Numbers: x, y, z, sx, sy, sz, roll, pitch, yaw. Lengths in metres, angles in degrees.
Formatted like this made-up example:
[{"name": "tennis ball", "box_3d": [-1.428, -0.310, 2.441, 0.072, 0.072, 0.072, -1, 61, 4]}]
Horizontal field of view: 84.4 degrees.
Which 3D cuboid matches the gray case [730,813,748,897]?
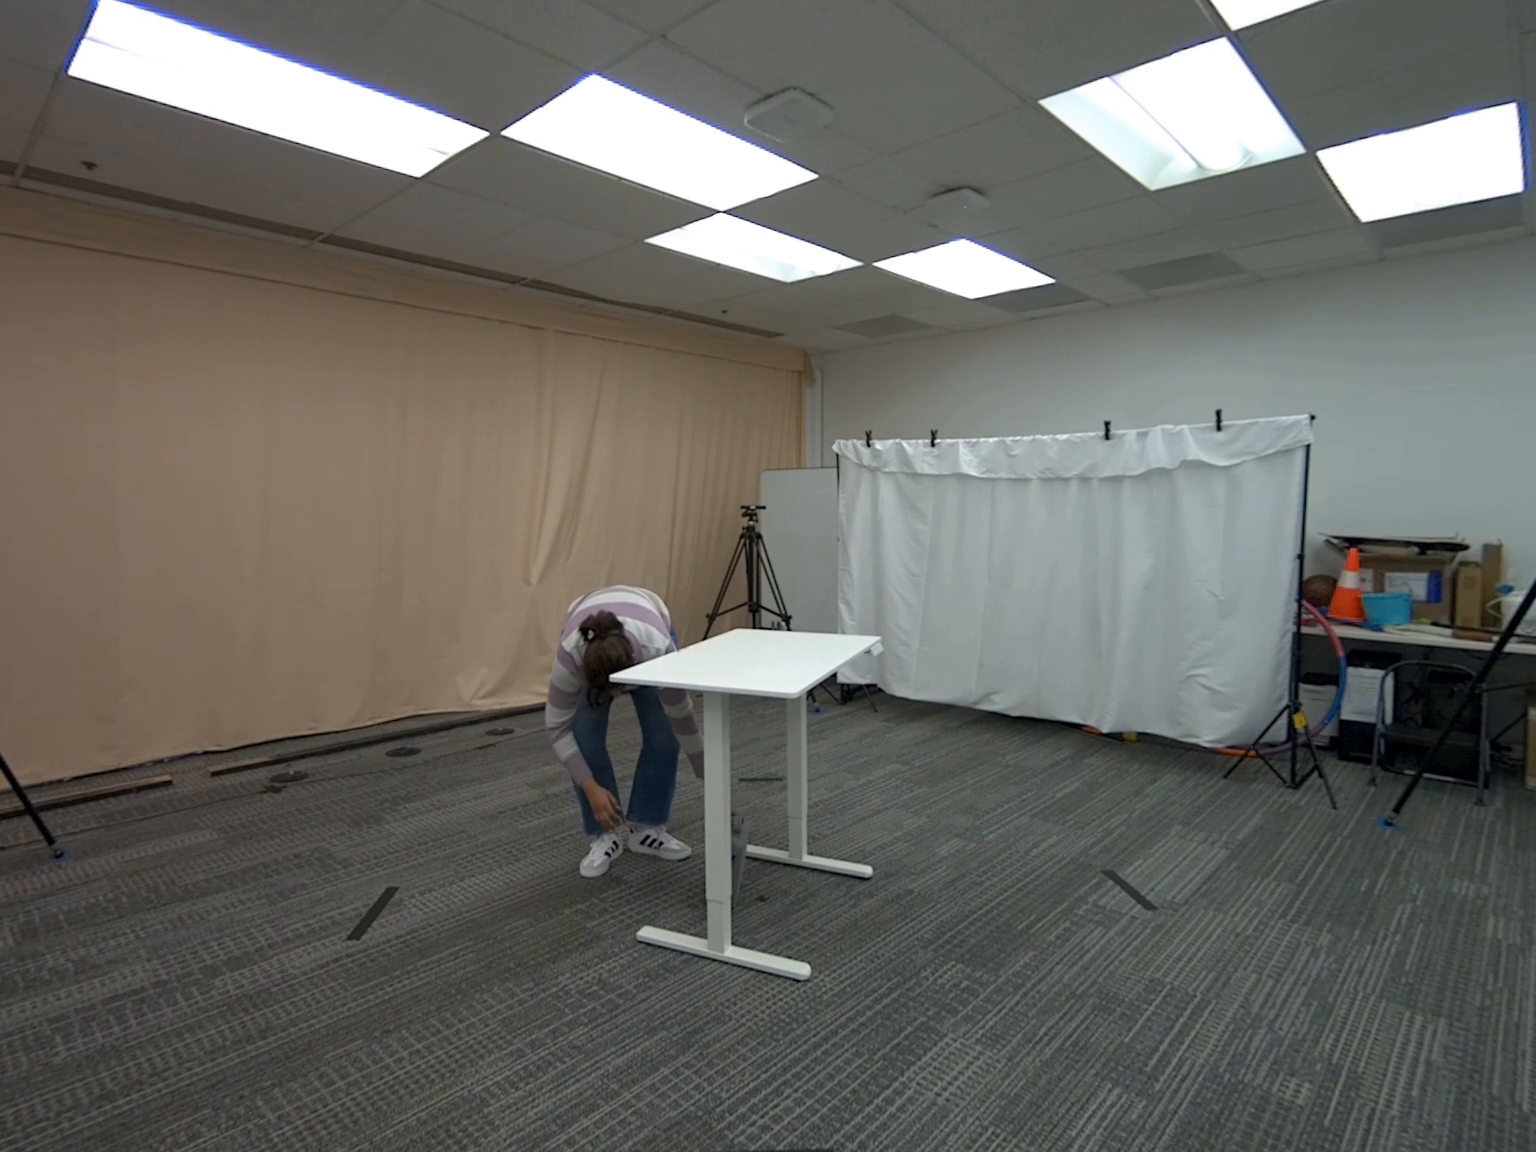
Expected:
[{"name": "gray case", "box_3d": [-0.135, 1.010, 3.008, 0.105, 0.260, 0.256, 8, 5, 3]}]
